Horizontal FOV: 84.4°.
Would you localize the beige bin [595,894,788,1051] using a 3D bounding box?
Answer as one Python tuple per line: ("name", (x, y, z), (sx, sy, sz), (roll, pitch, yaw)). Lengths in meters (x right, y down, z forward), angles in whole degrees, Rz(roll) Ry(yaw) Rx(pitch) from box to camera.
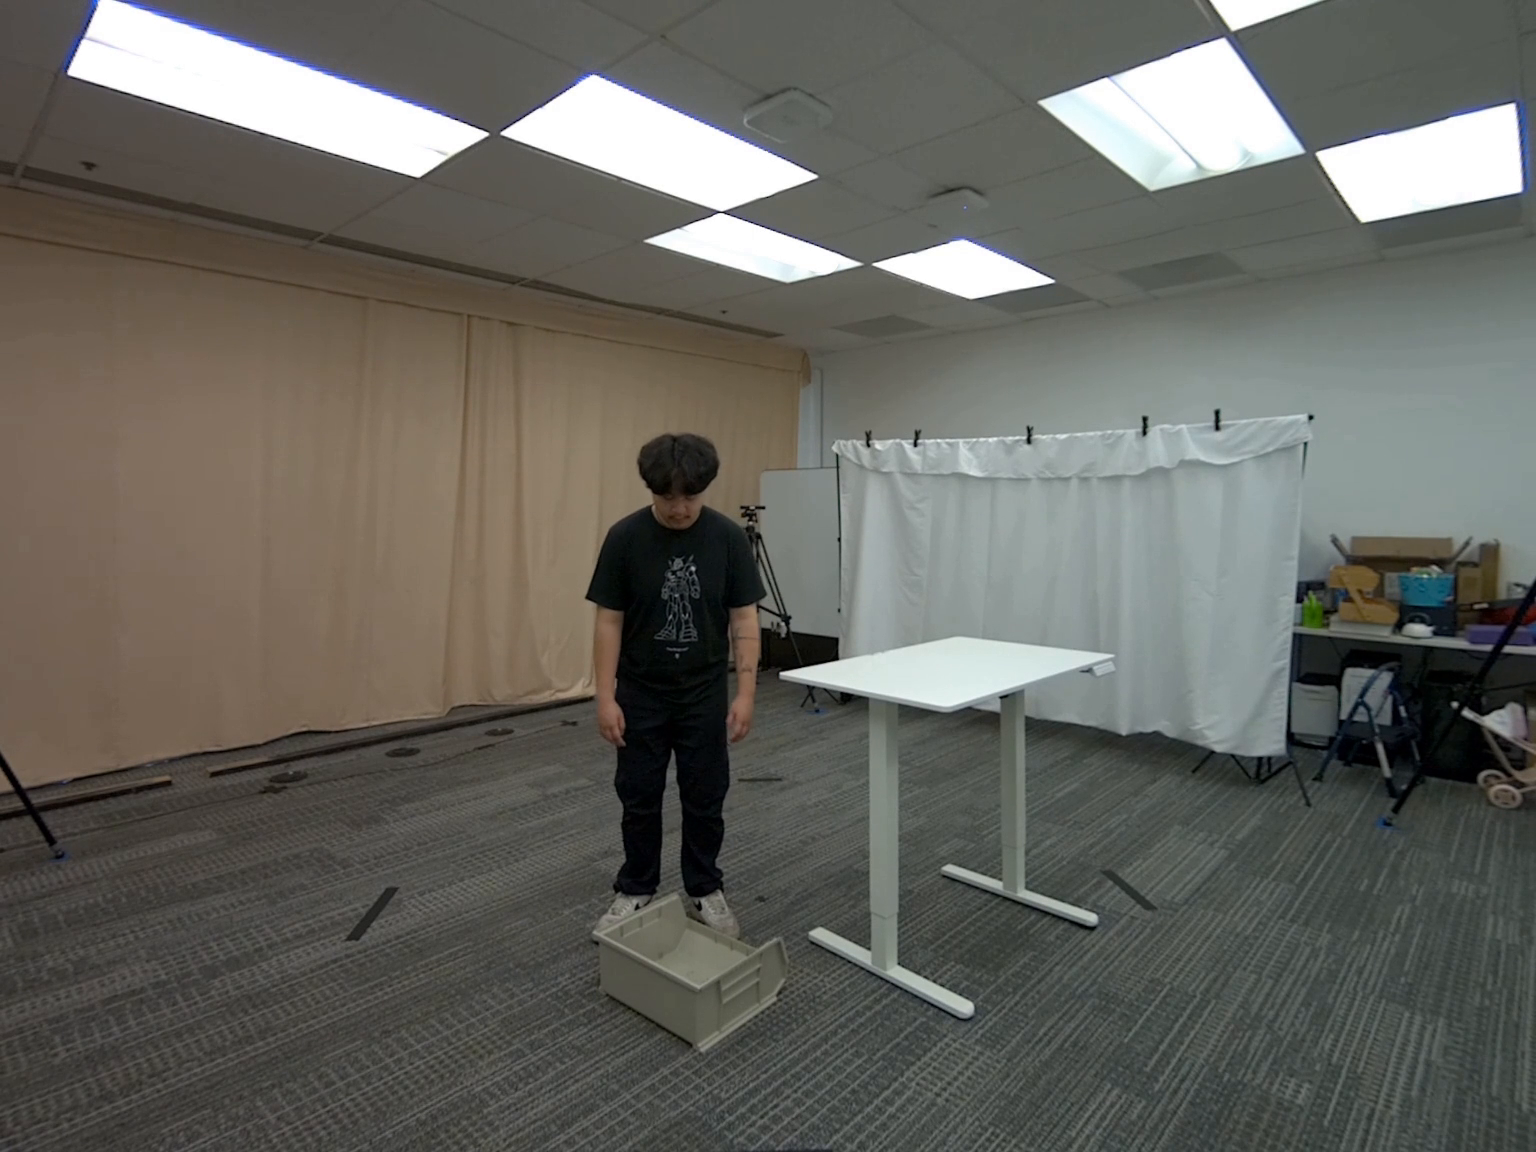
("beige bin", (-0.218, 1.105, 2.405), (0.436, 0.188, 0.366), (4, 6, 40))
